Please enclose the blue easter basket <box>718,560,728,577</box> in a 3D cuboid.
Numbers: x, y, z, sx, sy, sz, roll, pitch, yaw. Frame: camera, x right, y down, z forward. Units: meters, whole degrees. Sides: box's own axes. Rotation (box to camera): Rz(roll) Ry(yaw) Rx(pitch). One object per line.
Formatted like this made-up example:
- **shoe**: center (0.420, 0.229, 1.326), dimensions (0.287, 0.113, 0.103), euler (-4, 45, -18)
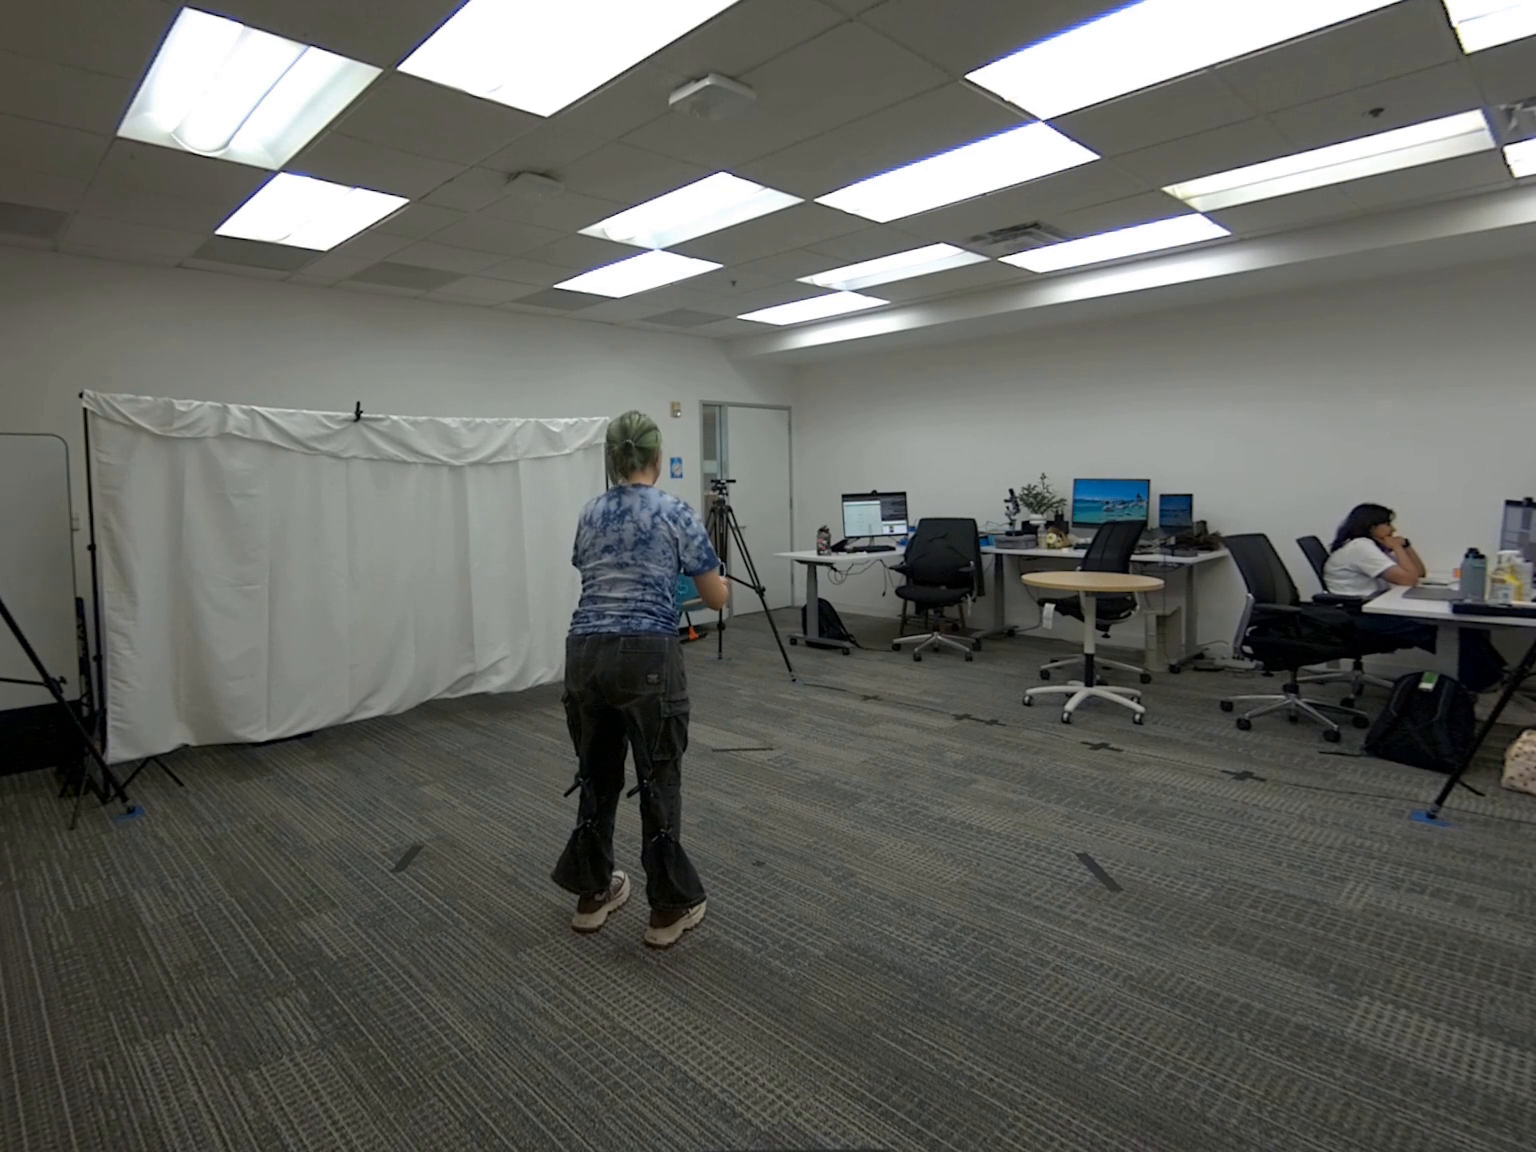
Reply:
- **blue easter basket**: center (-0.277, 0.043, 3.076), dimensions (0.243, 0.154, 0.246), euler (-5, 10, -1)
